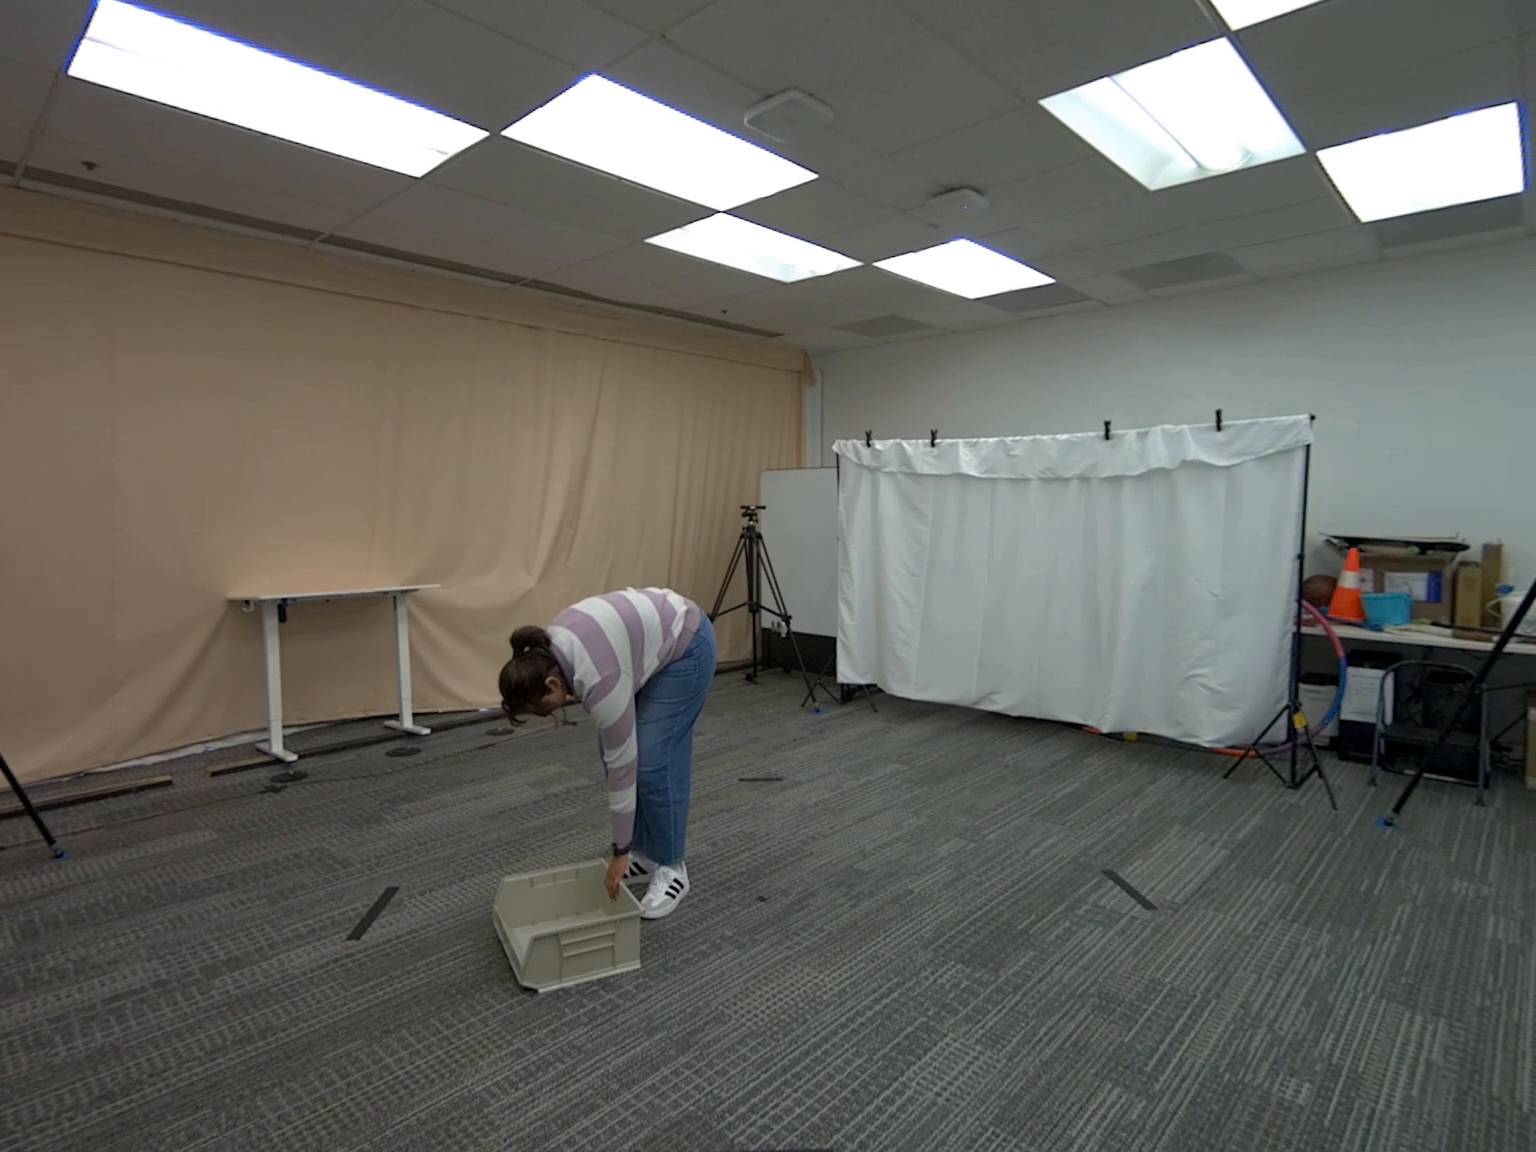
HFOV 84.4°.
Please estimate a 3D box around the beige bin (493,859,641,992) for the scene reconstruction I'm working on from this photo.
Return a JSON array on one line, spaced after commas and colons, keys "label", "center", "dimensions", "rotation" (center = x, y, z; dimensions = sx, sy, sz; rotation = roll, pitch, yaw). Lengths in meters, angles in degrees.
[{"label": "beige bin", "center": [-0.634, 1.086, 2.644], "dimensions": [0.368, 0.189, 0.434], "rotation": [-1, 3, -28]}]
